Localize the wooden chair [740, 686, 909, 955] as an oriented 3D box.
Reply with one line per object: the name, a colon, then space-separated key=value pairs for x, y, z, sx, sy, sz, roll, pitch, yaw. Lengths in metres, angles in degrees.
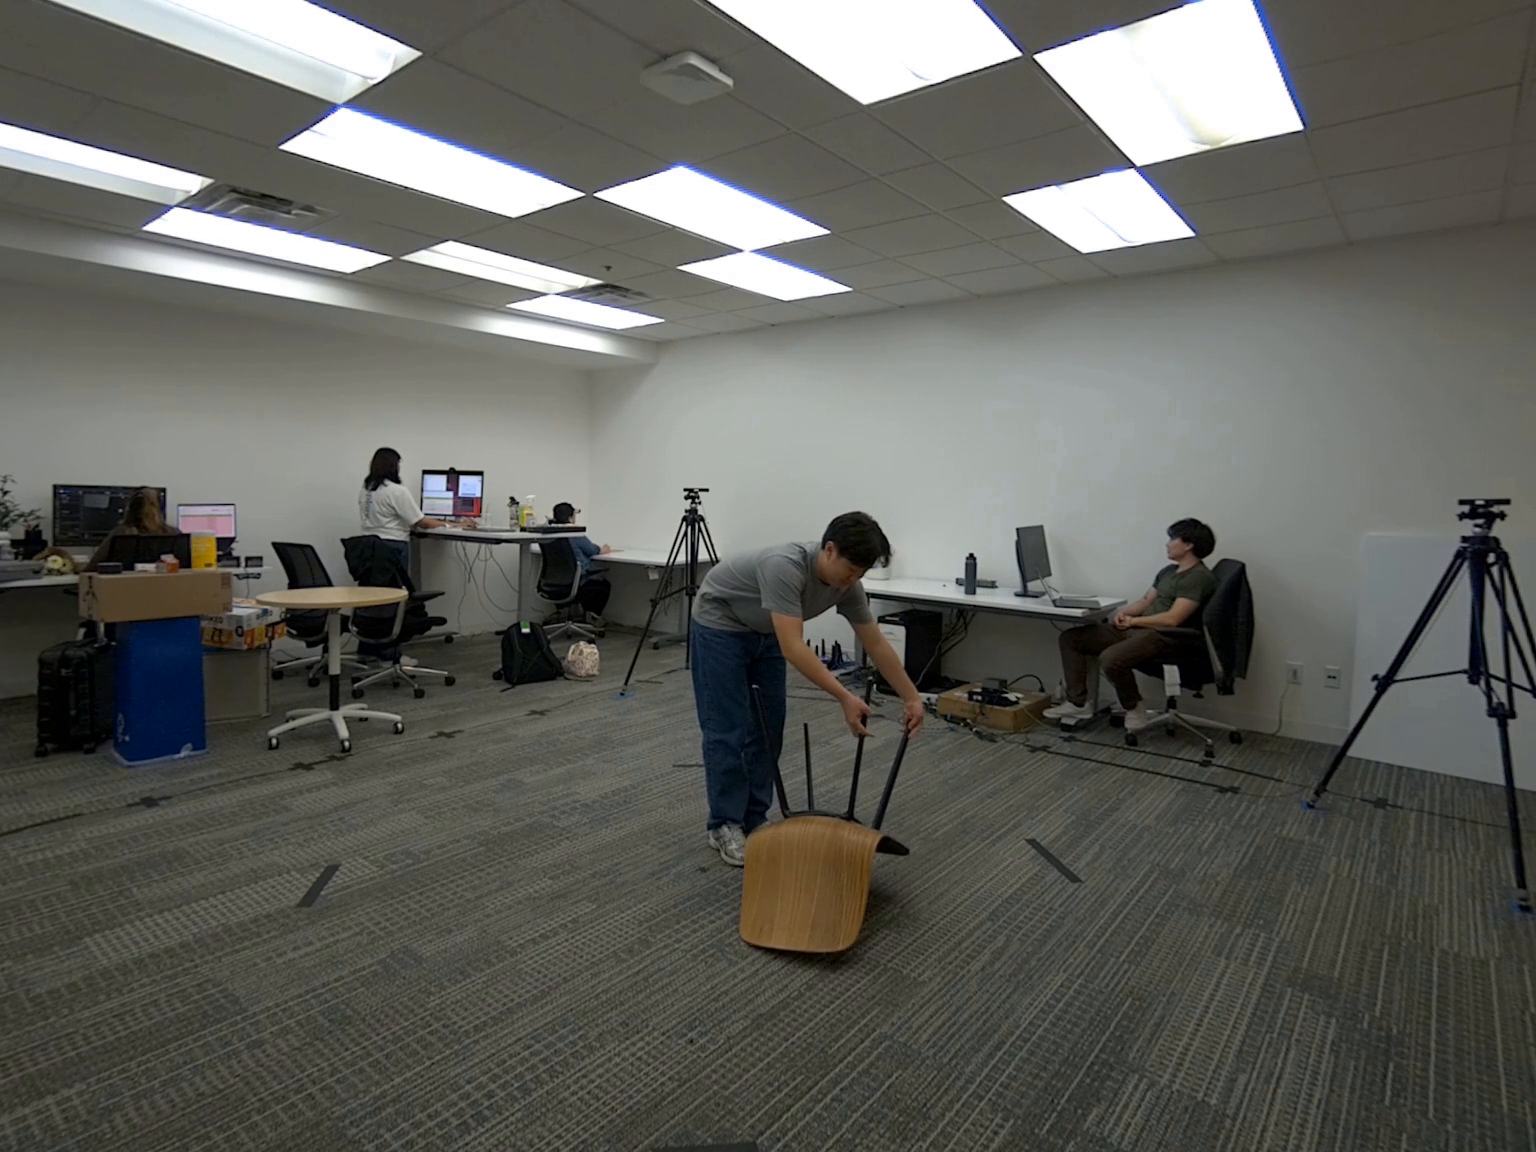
wooden chair: x=0.207 y=0.856 z=2.915 sx=0.488 sy=0.896 sz=0.501 roll=-10 pitch=-35 yaw=26
